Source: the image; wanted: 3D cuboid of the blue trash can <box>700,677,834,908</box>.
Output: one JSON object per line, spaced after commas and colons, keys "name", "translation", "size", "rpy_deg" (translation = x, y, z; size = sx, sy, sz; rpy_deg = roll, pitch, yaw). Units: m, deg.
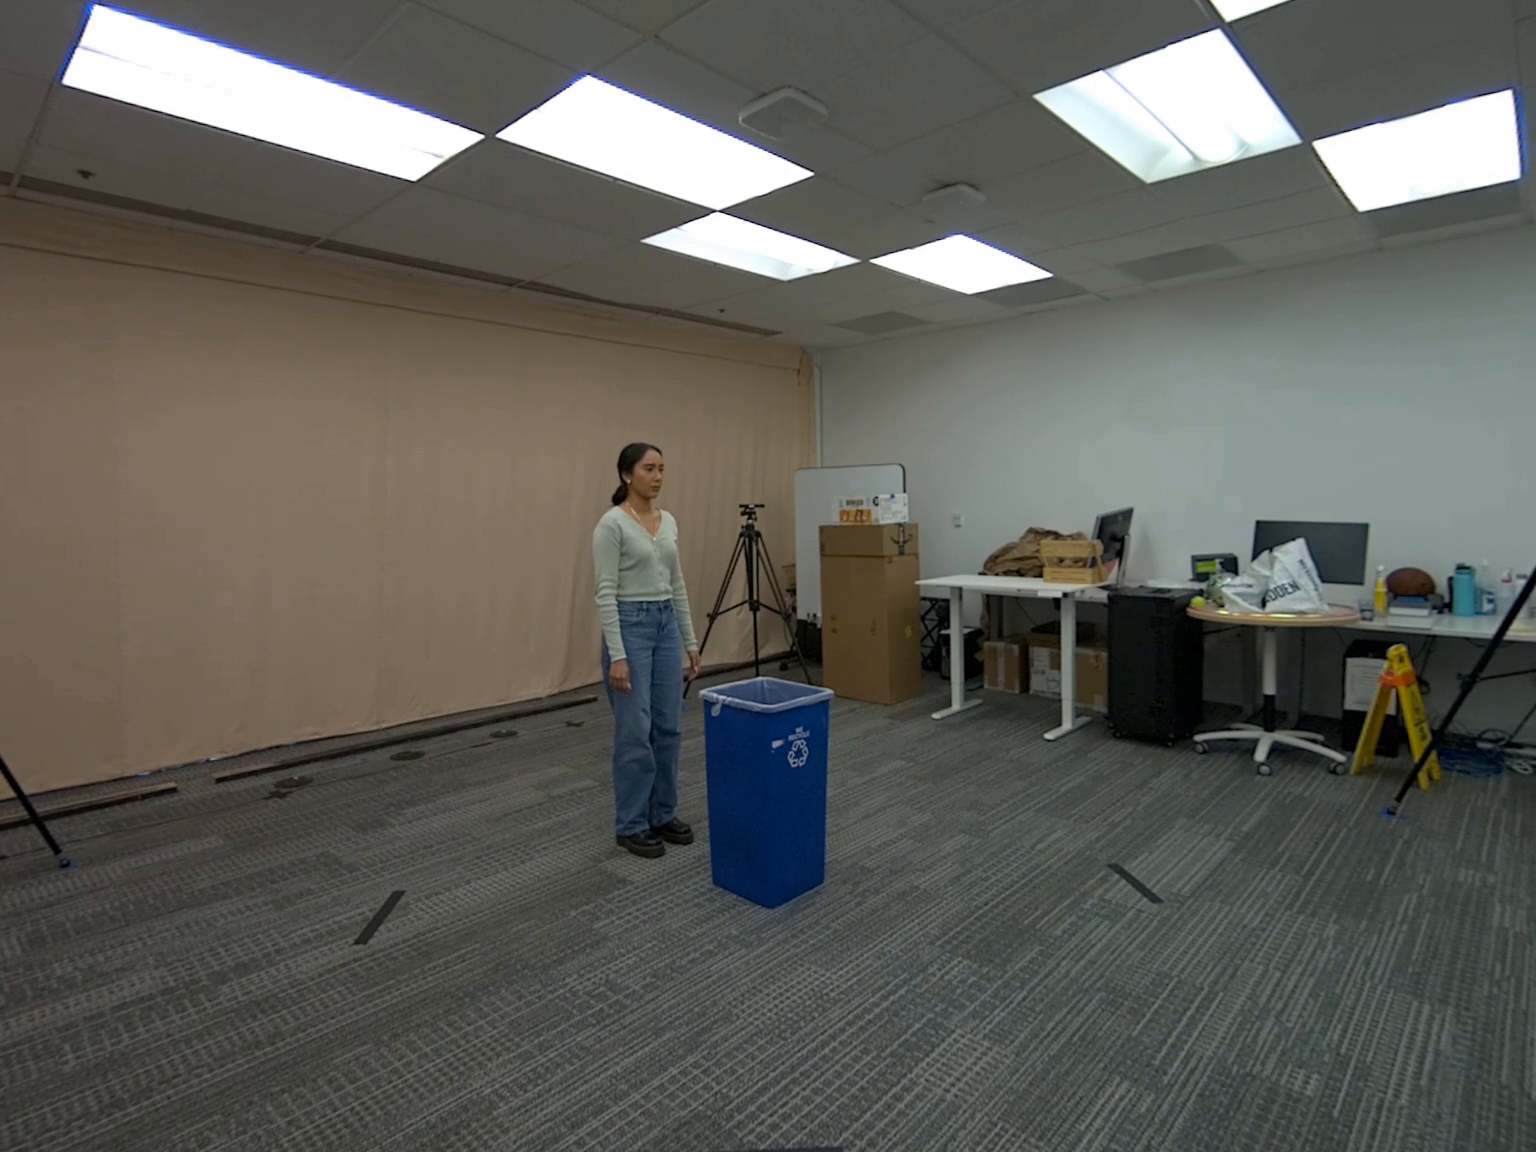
{"name": "blue trash can", "translation": [0.000, 0.771, 3.085], "size": [0.391, 0.712, 0.363], "rpy_deg": [3, 5, 45]}
